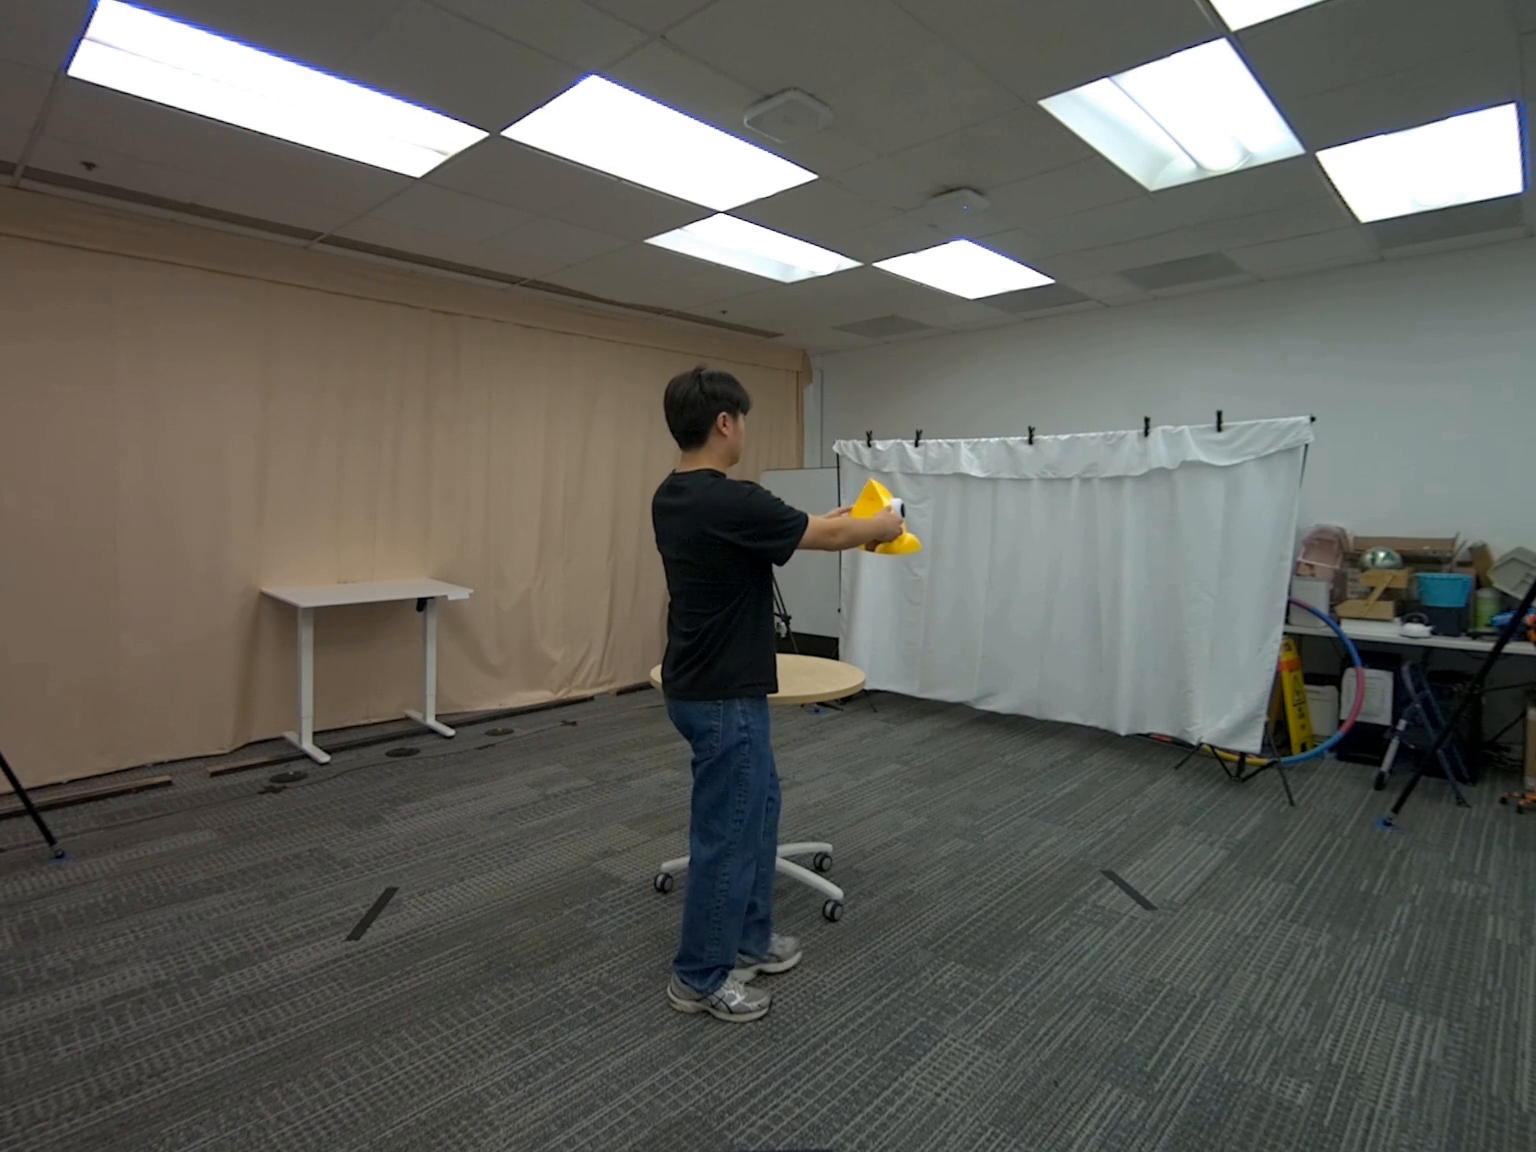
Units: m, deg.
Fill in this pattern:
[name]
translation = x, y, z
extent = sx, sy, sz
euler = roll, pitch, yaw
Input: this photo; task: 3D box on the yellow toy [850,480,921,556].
[yellow toy]
translation = 0.377, -0.196, 2.668
extent = 0.188, 0.229, 0.212
euler = -10, 14, -32
